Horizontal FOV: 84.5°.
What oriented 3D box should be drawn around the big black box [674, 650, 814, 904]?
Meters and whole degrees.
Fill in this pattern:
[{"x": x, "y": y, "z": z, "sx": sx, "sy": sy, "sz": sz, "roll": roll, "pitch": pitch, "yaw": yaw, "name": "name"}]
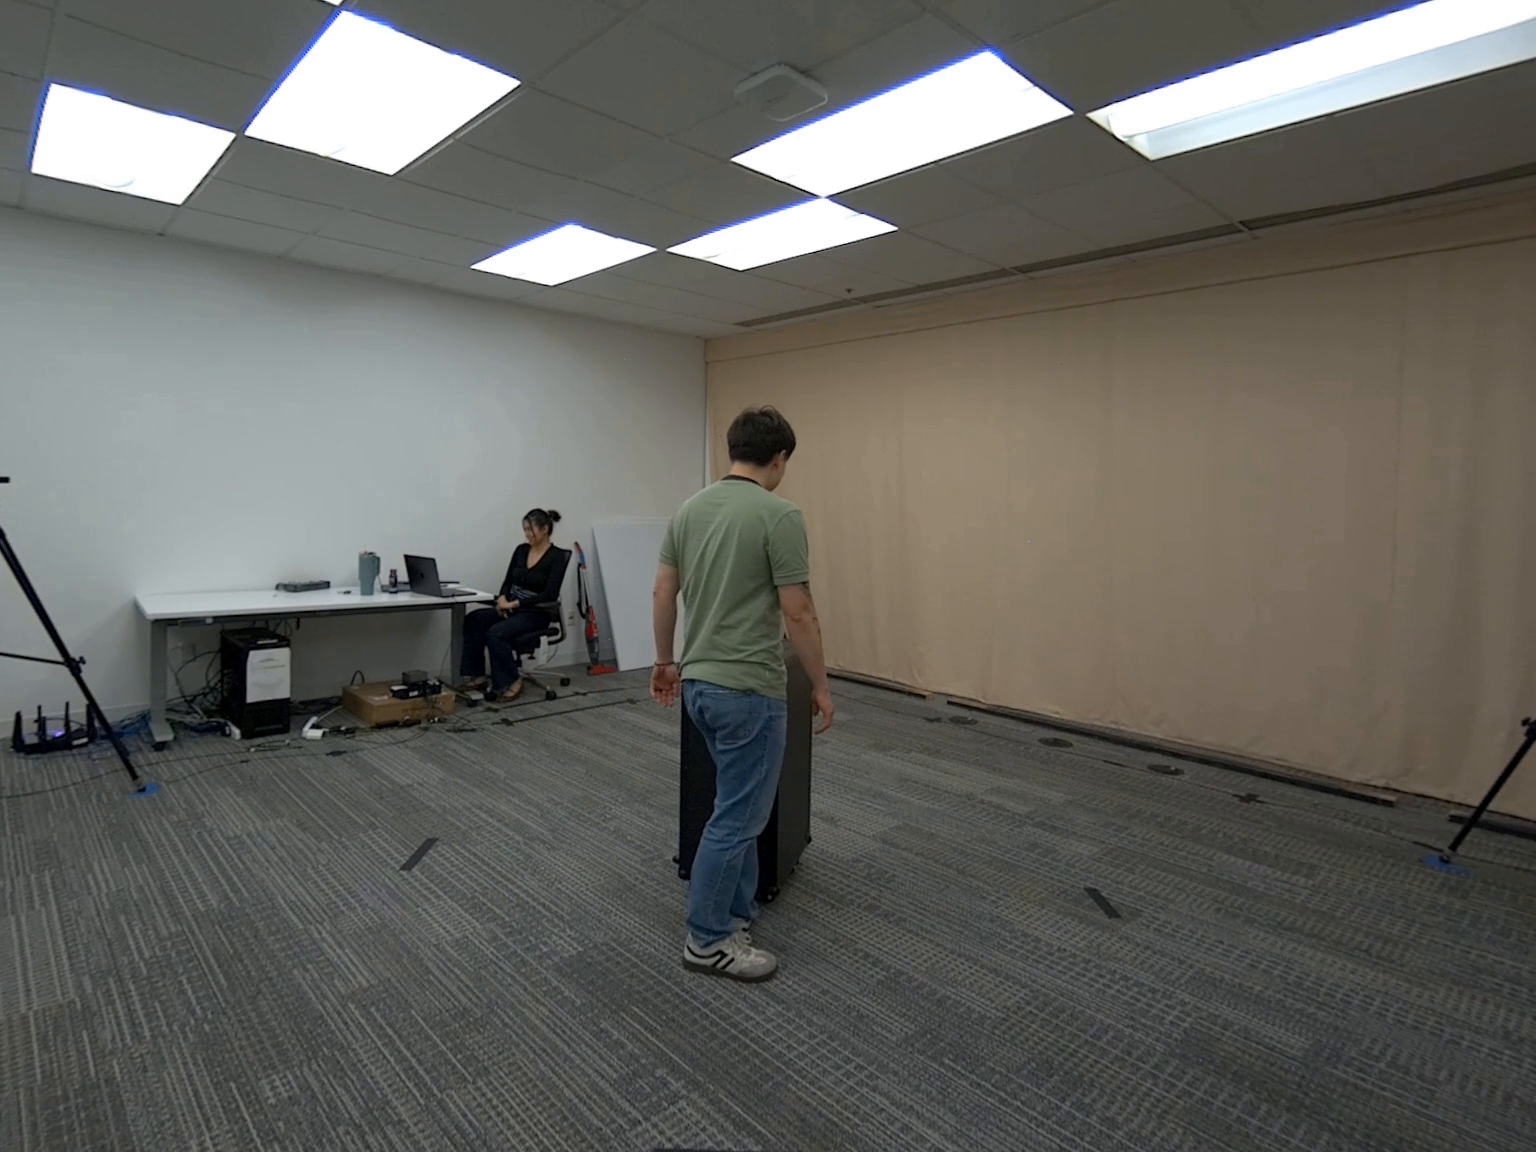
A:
[{"x": -0.080, "y": 0.688, "z": 3.053, "sx": 0.402, "sy": 0.859, "sz": 0.515, "roll": 2, "pitch": 4, "yaw": 19, "name": "big black box"}]
